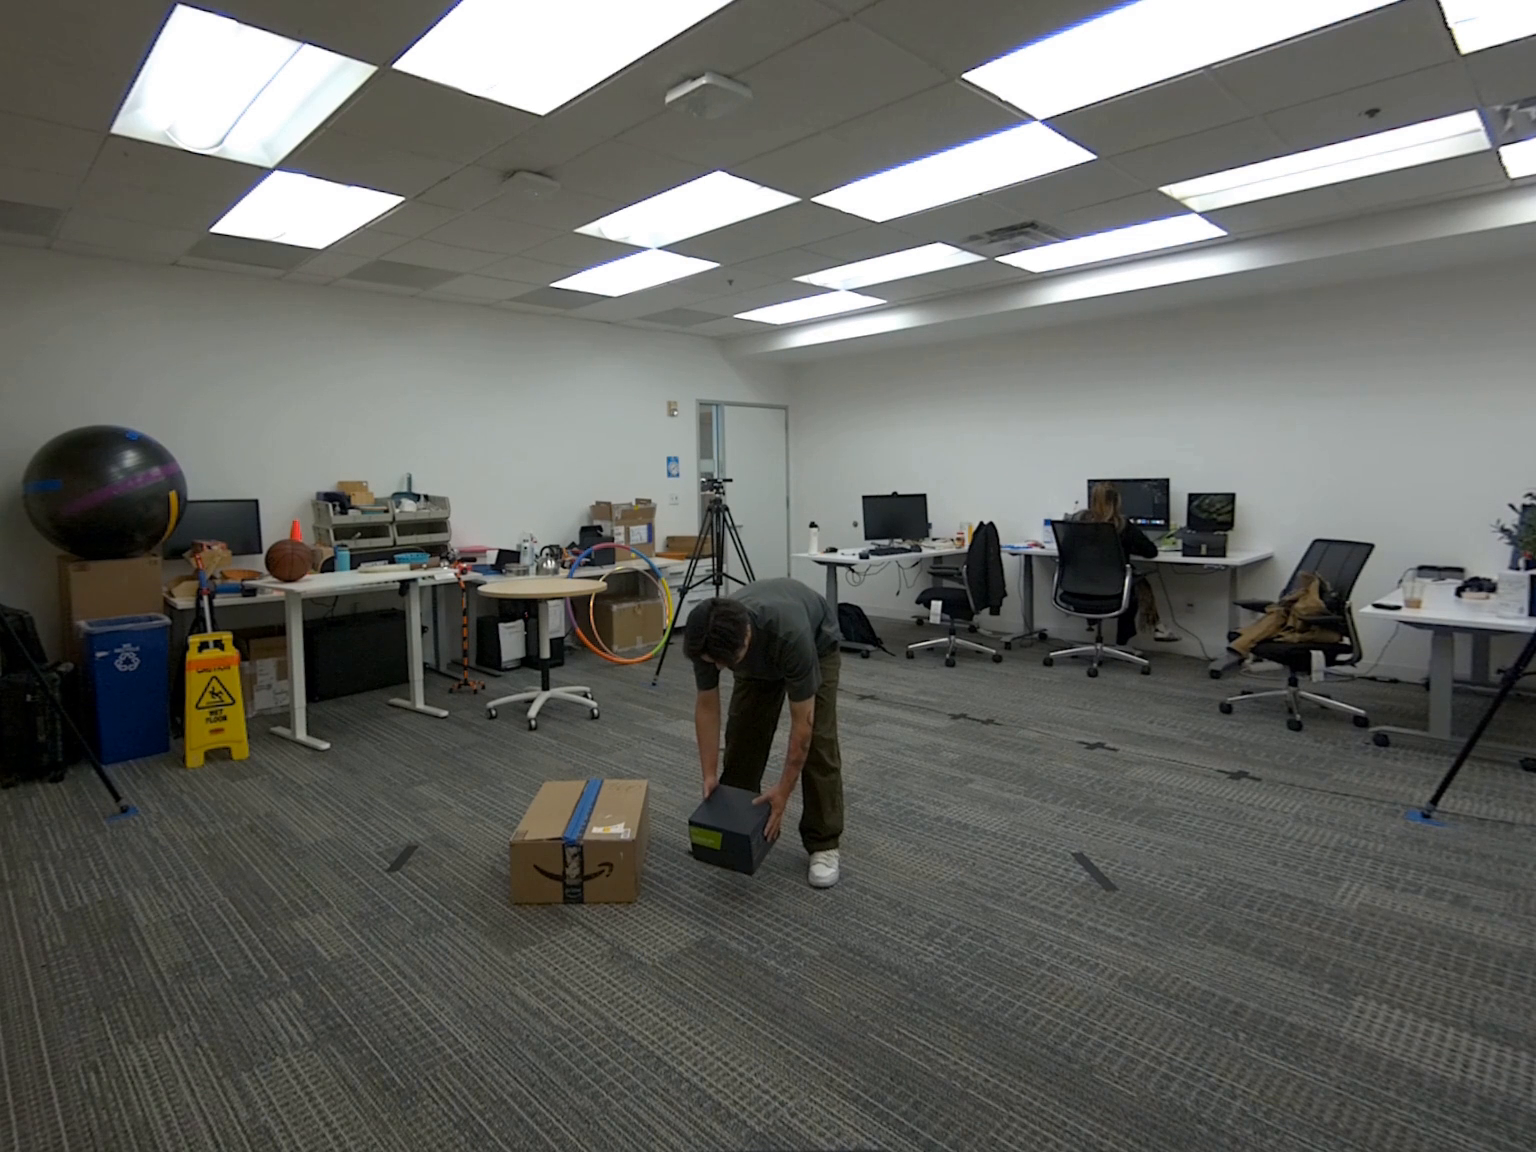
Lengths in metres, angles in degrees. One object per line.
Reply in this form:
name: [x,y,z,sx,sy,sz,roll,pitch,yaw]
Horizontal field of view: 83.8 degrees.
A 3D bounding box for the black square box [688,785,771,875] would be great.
black square box: [-0.117,0.846,2.850,0.234,0.153,0.215,4,22,26]
